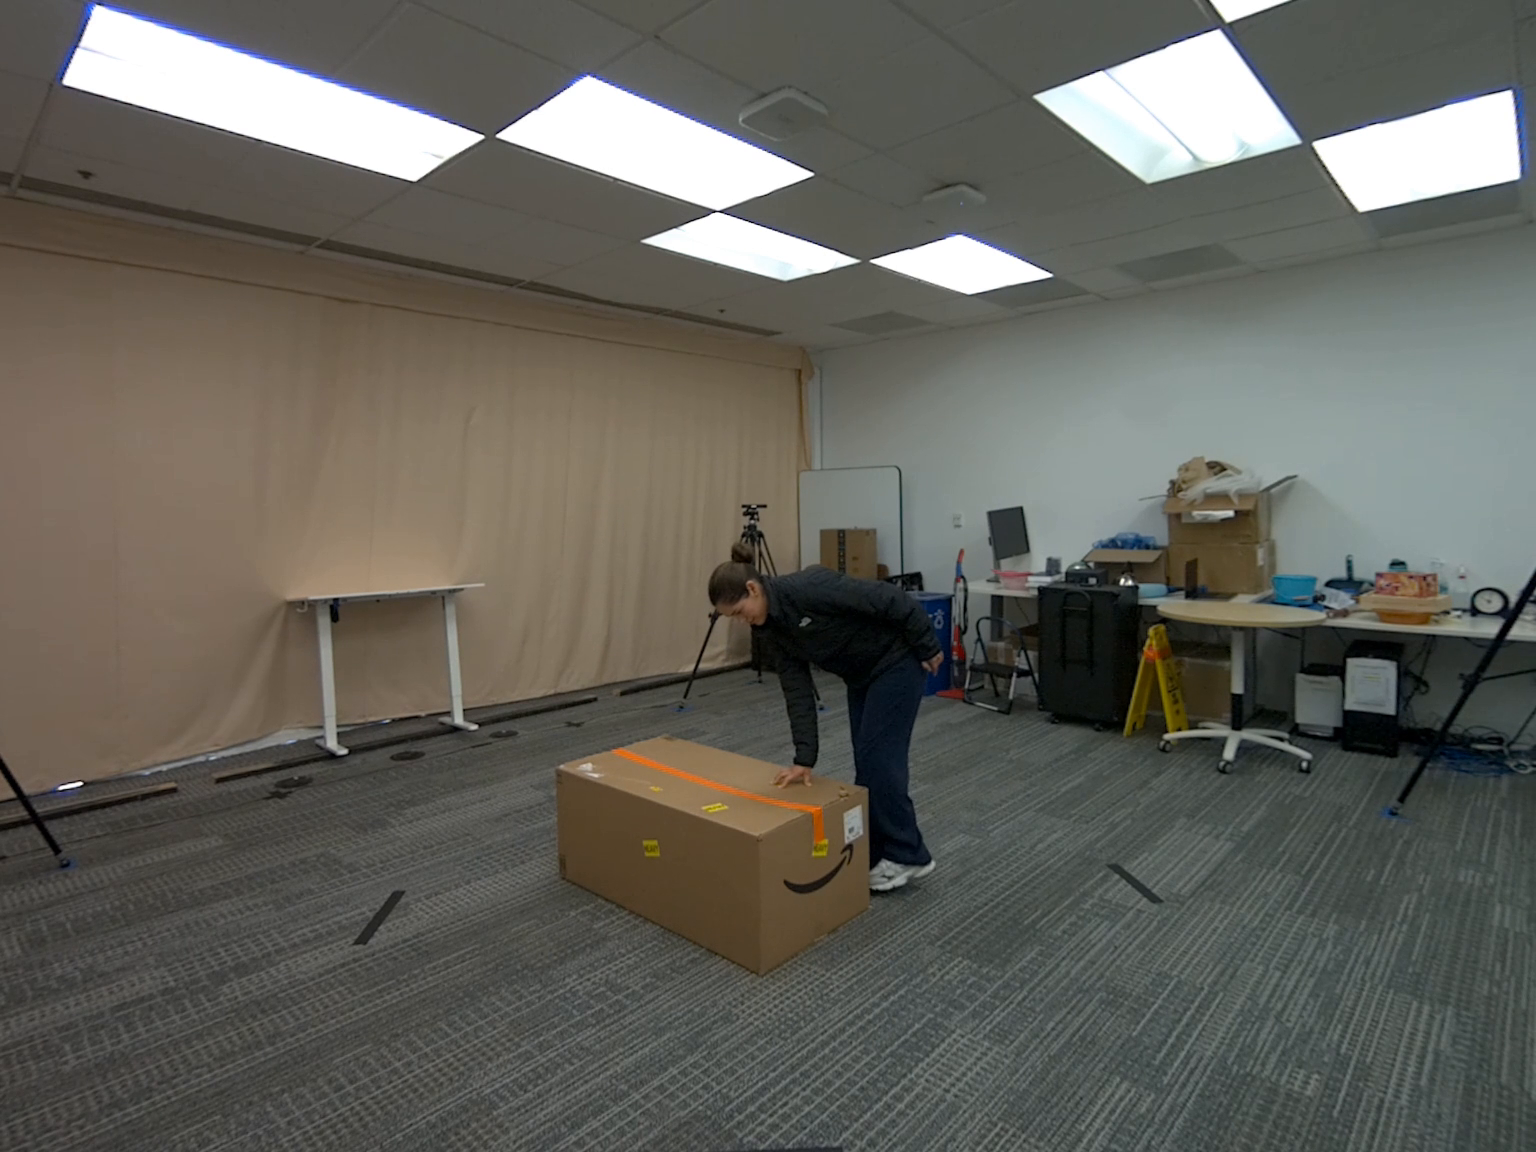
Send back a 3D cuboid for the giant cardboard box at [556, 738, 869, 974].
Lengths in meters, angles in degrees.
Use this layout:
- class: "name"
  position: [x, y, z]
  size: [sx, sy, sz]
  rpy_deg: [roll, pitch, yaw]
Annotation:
- class: "giant cardboard box"
  position: [-0.212, 0.933, 3.032]
  size: [1.061, 0.446, 0.566]
  rpy_deg: [2, 4, 42]
